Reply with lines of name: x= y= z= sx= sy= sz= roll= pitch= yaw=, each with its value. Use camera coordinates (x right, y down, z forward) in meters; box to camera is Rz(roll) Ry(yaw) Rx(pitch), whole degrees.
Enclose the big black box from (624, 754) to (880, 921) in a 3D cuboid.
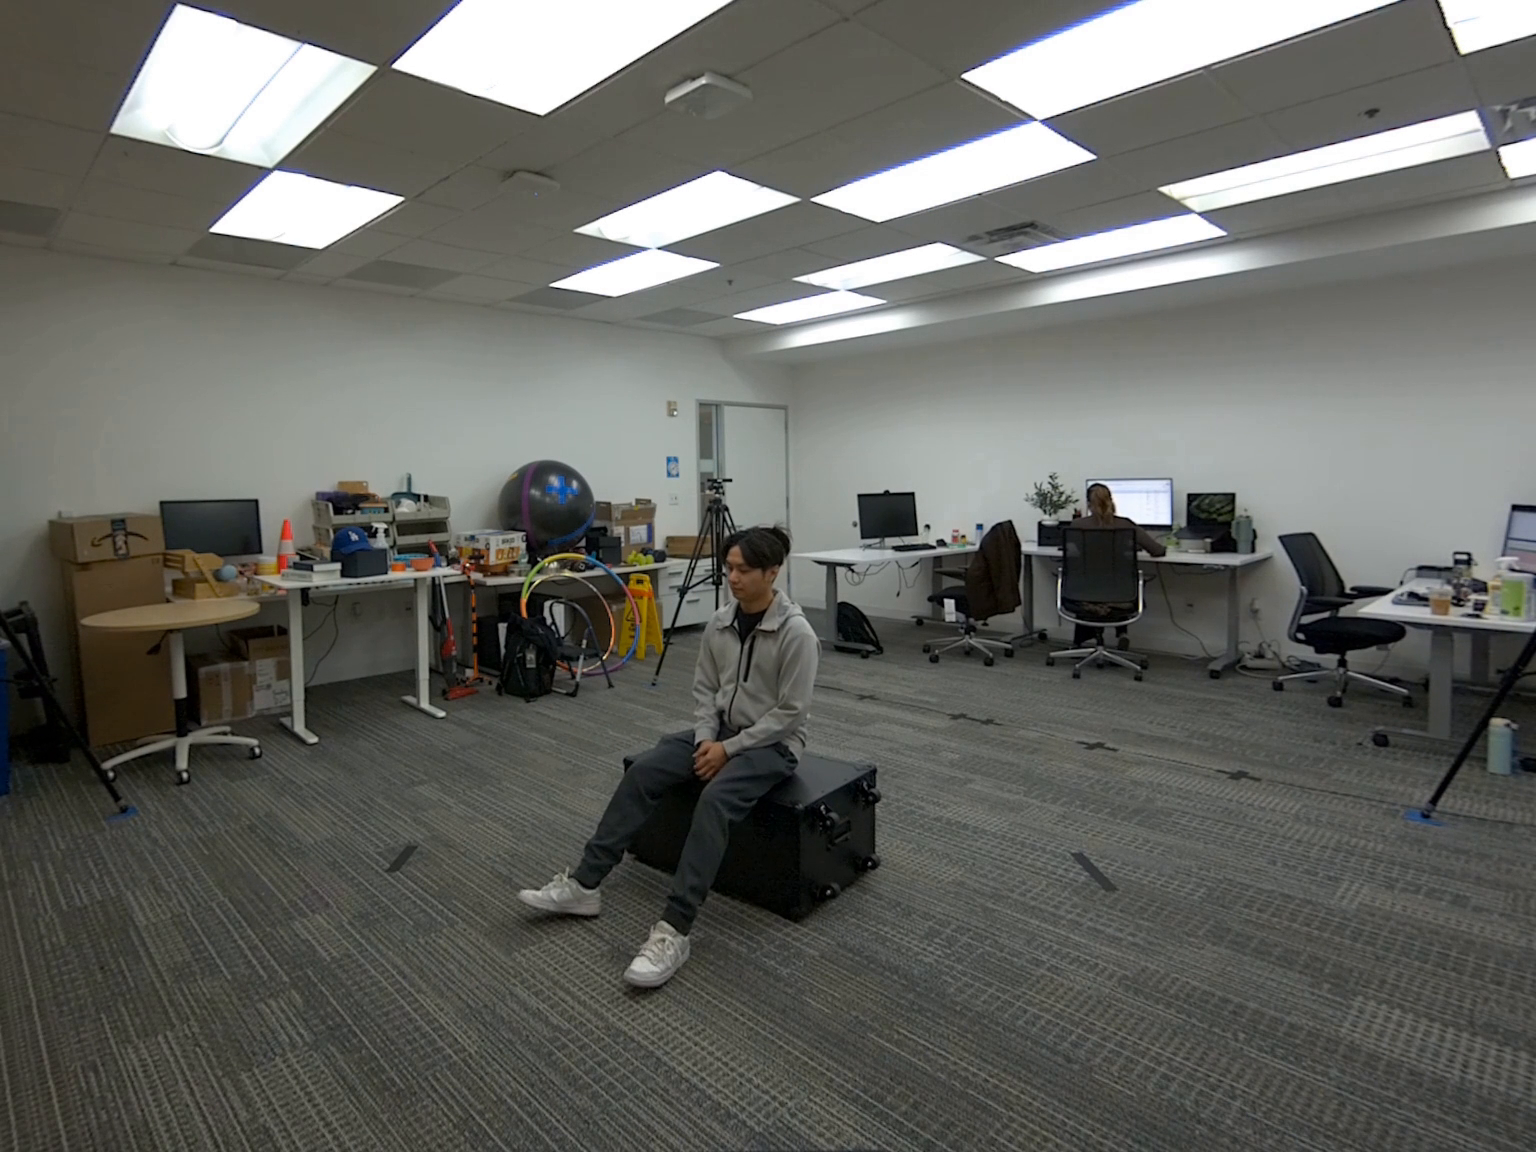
big black box: x=-0.091 y=0.861 z=3.113 sx=0.887 sy=0.394 sz=0.508 roll=4 pitch=7 yaw=39
